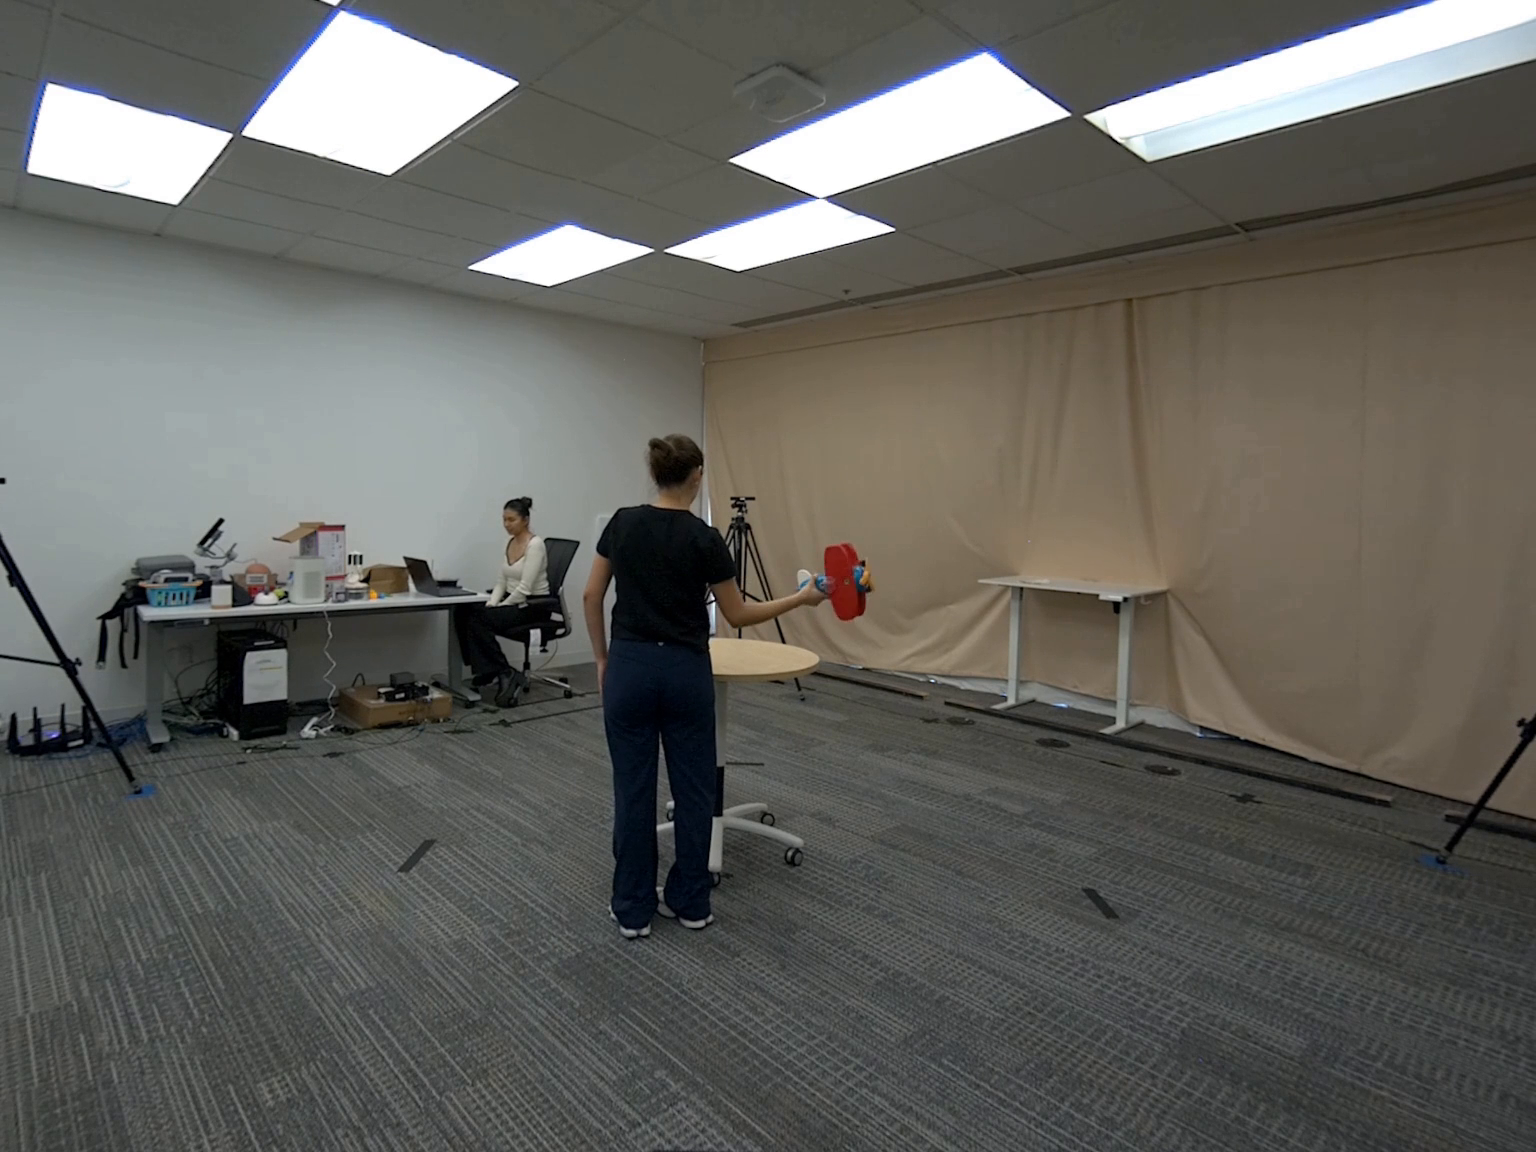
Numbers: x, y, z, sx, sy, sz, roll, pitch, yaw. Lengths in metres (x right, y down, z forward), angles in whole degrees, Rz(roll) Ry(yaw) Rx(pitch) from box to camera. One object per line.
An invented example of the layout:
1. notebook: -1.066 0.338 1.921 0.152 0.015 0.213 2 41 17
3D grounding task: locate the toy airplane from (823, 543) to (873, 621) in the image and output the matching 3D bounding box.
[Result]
1. toy airplane: 0.218 0.026 2.859 0.259 0.253 0.155 -40 -7 13
